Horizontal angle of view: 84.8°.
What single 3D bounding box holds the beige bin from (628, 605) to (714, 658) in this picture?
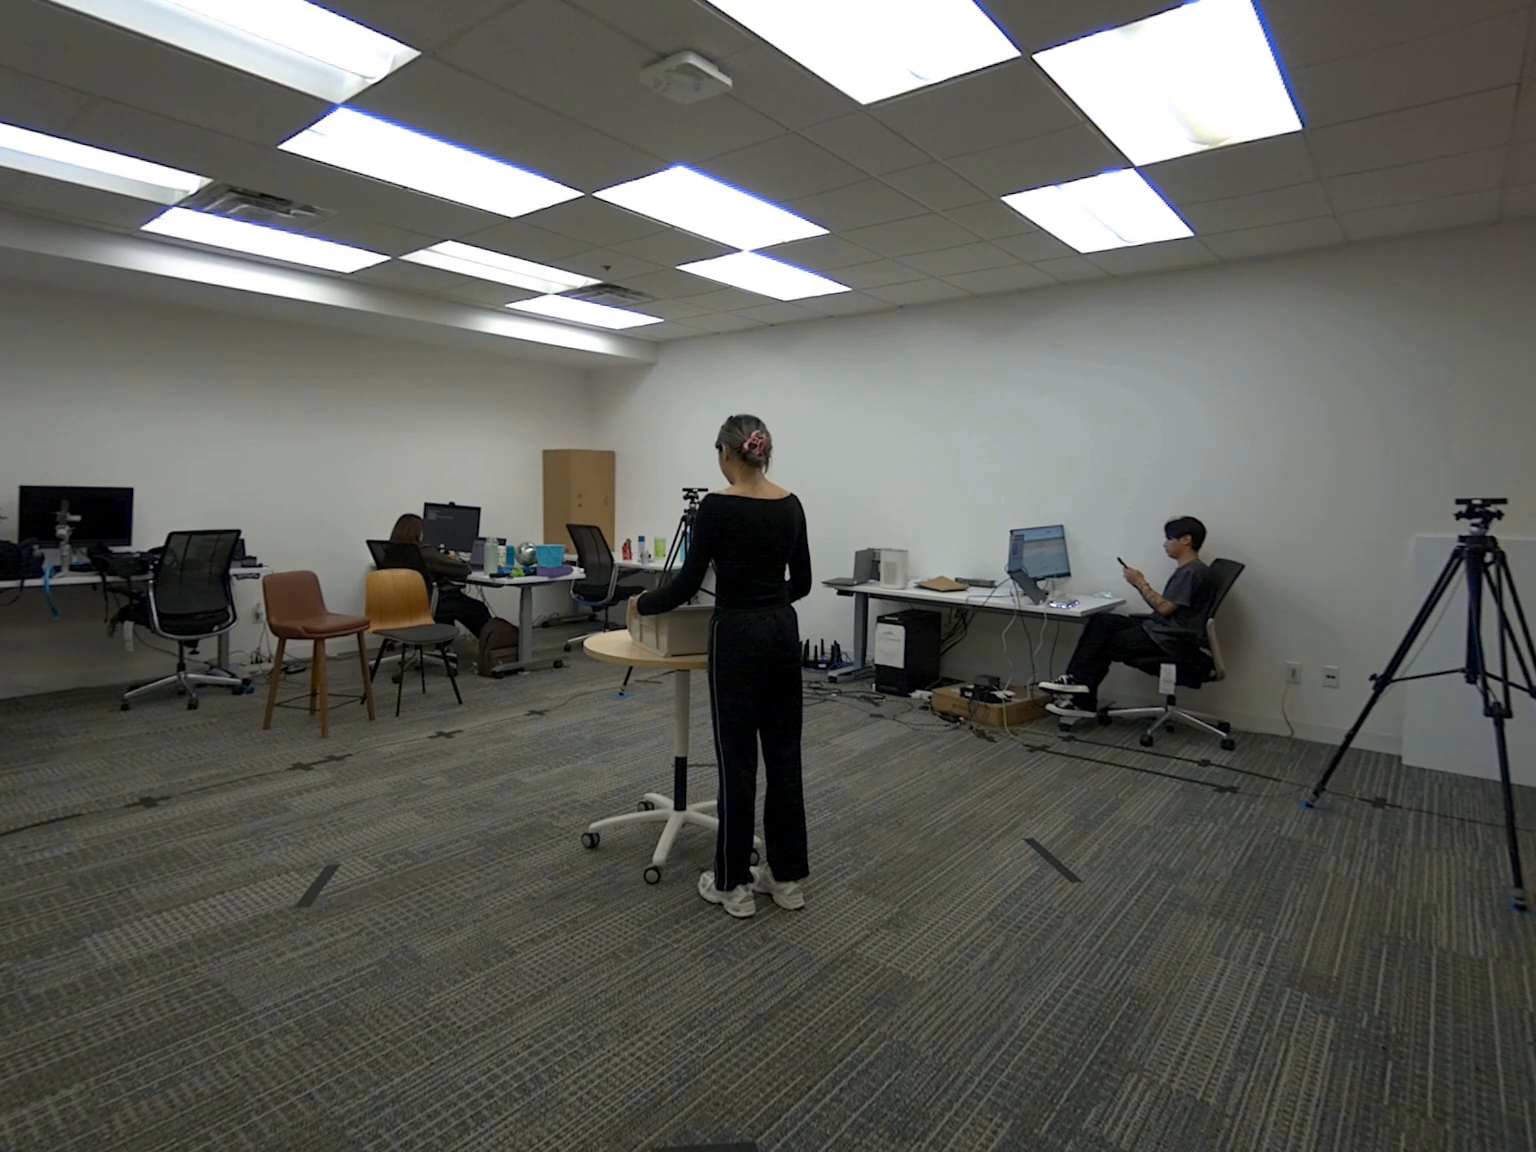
[{"bbox_3d":[-0.285,0.172,3.217,0.411,0.188,0.389,0,5,-28],"label":"beige bin"}]
